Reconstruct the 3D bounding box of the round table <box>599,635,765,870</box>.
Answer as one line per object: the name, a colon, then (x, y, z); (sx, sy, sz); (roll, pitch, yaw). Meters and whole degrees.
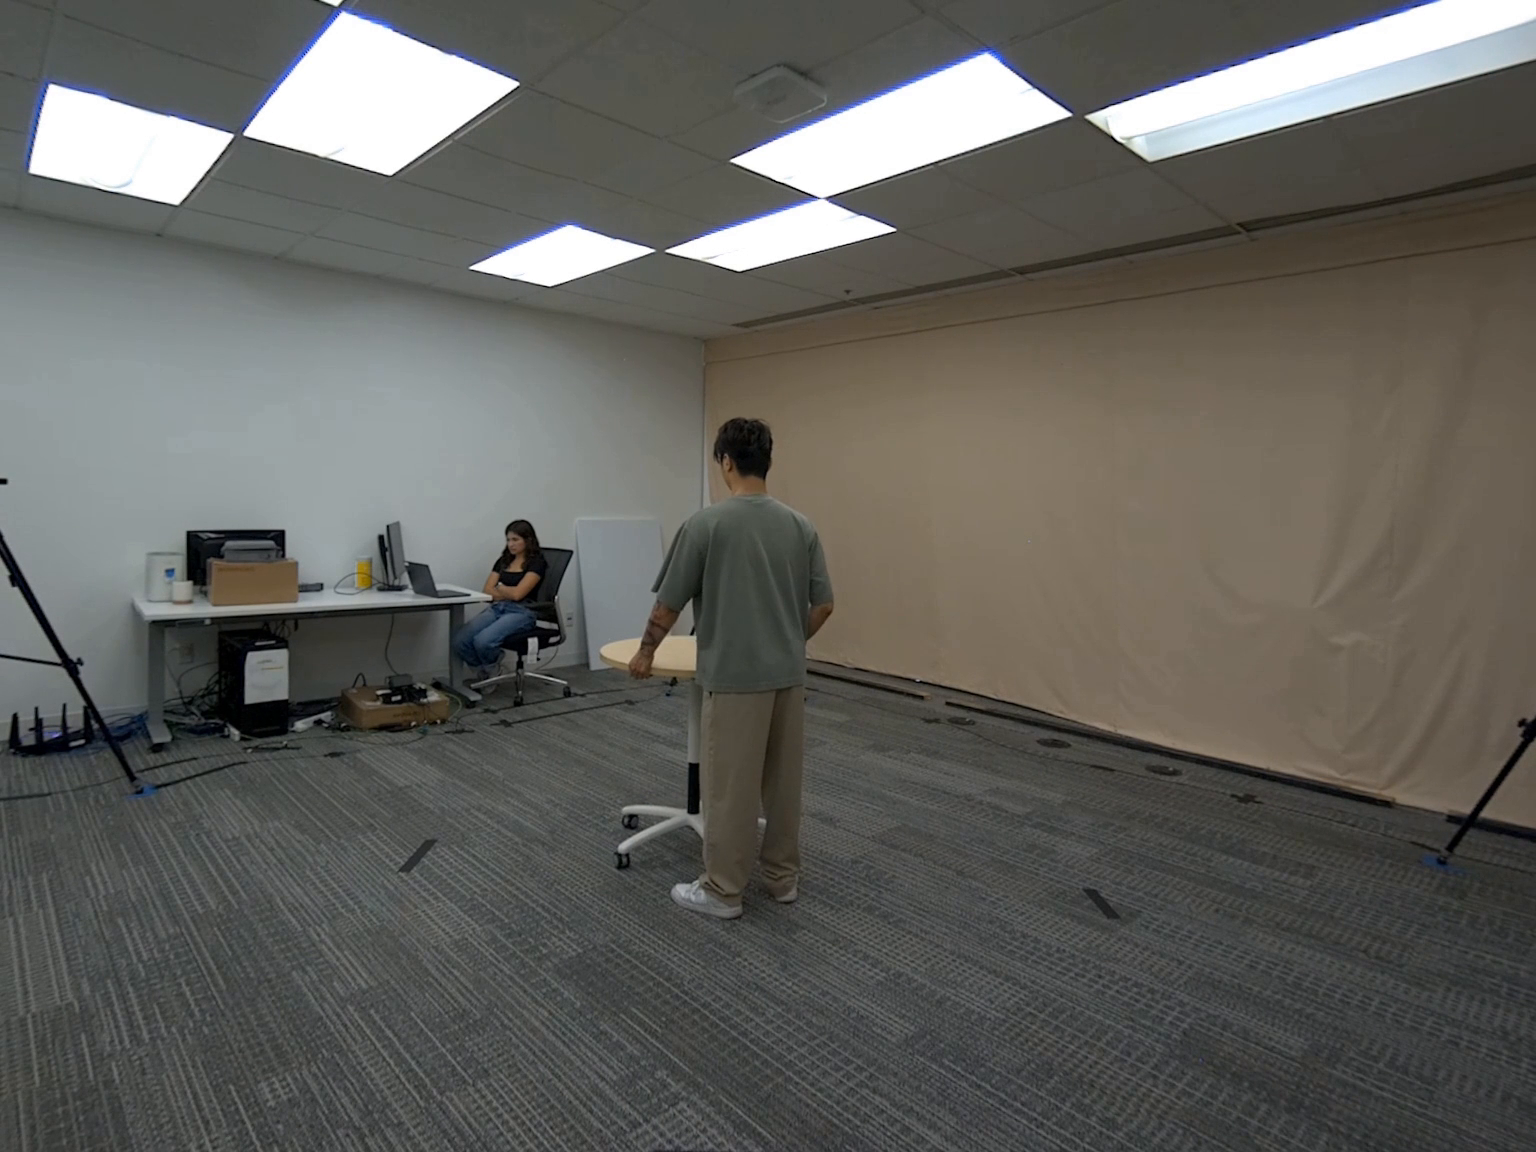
round table: (-0.313, 0.689, 3.336); (0.784, 0.785, 0.787); (1, 3, -1)
